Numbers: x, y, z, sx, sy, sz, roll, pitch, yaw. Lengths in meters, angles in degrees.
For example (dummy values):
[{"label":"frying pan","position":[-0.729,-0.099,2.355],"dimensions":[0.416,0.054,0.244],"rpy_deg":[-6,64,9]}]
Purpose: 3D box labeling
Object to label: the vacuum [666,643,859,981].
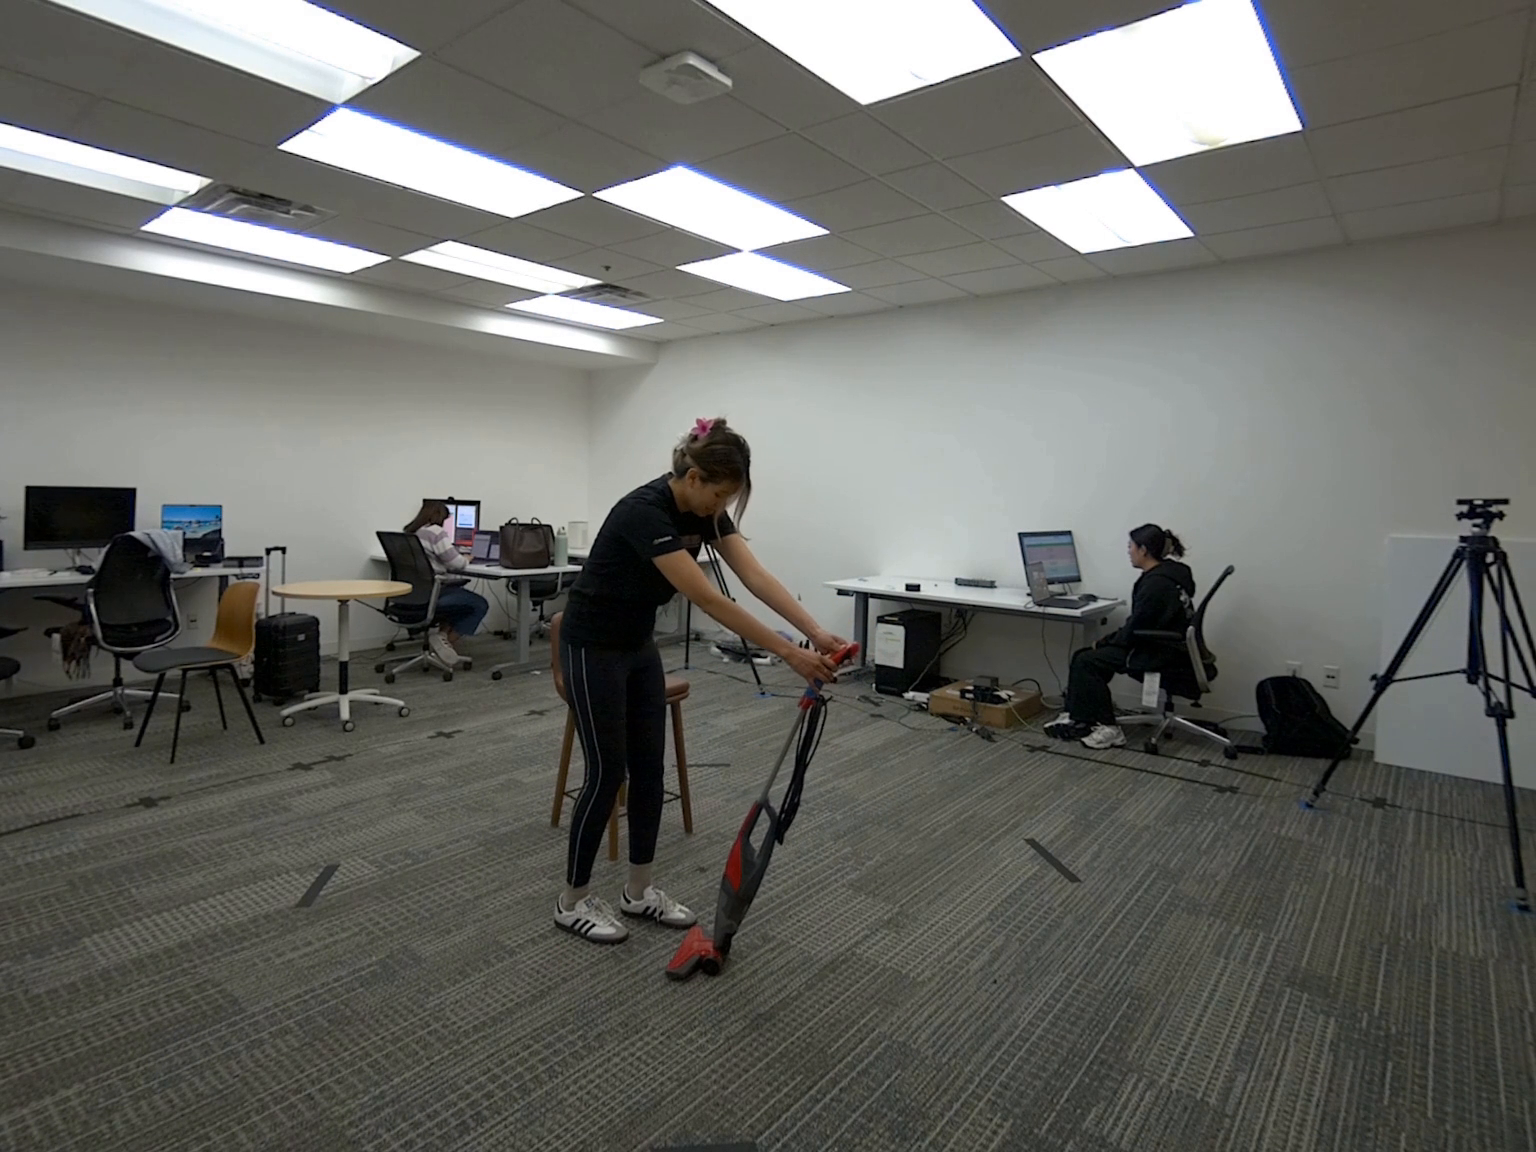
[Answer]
[{"label":"vacuum","position":[0.010,0.661,2.413],"dimensions":[0.148,1.045,0.247],"rpy_deg":[28,10,17]}]
